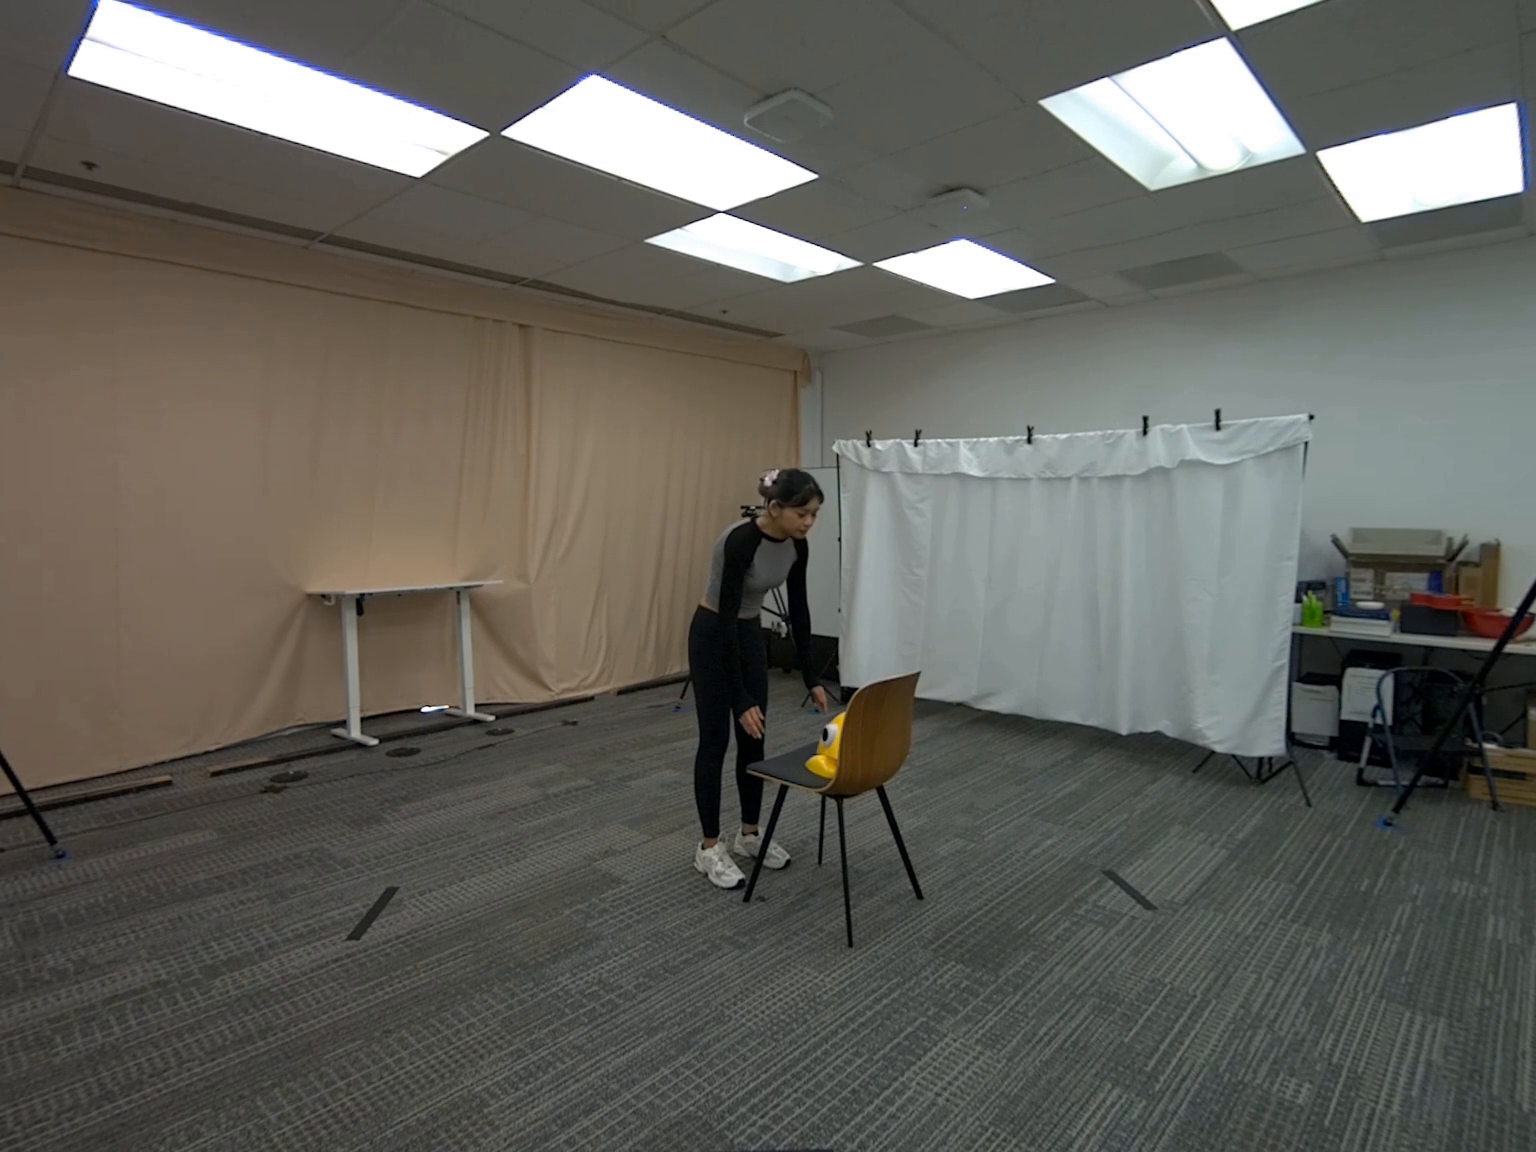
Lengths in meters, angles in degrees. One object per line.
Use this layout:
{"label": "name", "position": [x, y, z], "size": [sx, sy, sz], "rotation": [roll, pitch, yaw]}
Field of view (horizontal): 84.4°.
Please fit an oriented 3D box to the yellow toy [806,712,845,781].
{"label": "yellow toy", "position": [0.253, 0.564, 2.923], "size": [0.198, 0.229, 0.200], "rotation": [-5, 11, -44]}
